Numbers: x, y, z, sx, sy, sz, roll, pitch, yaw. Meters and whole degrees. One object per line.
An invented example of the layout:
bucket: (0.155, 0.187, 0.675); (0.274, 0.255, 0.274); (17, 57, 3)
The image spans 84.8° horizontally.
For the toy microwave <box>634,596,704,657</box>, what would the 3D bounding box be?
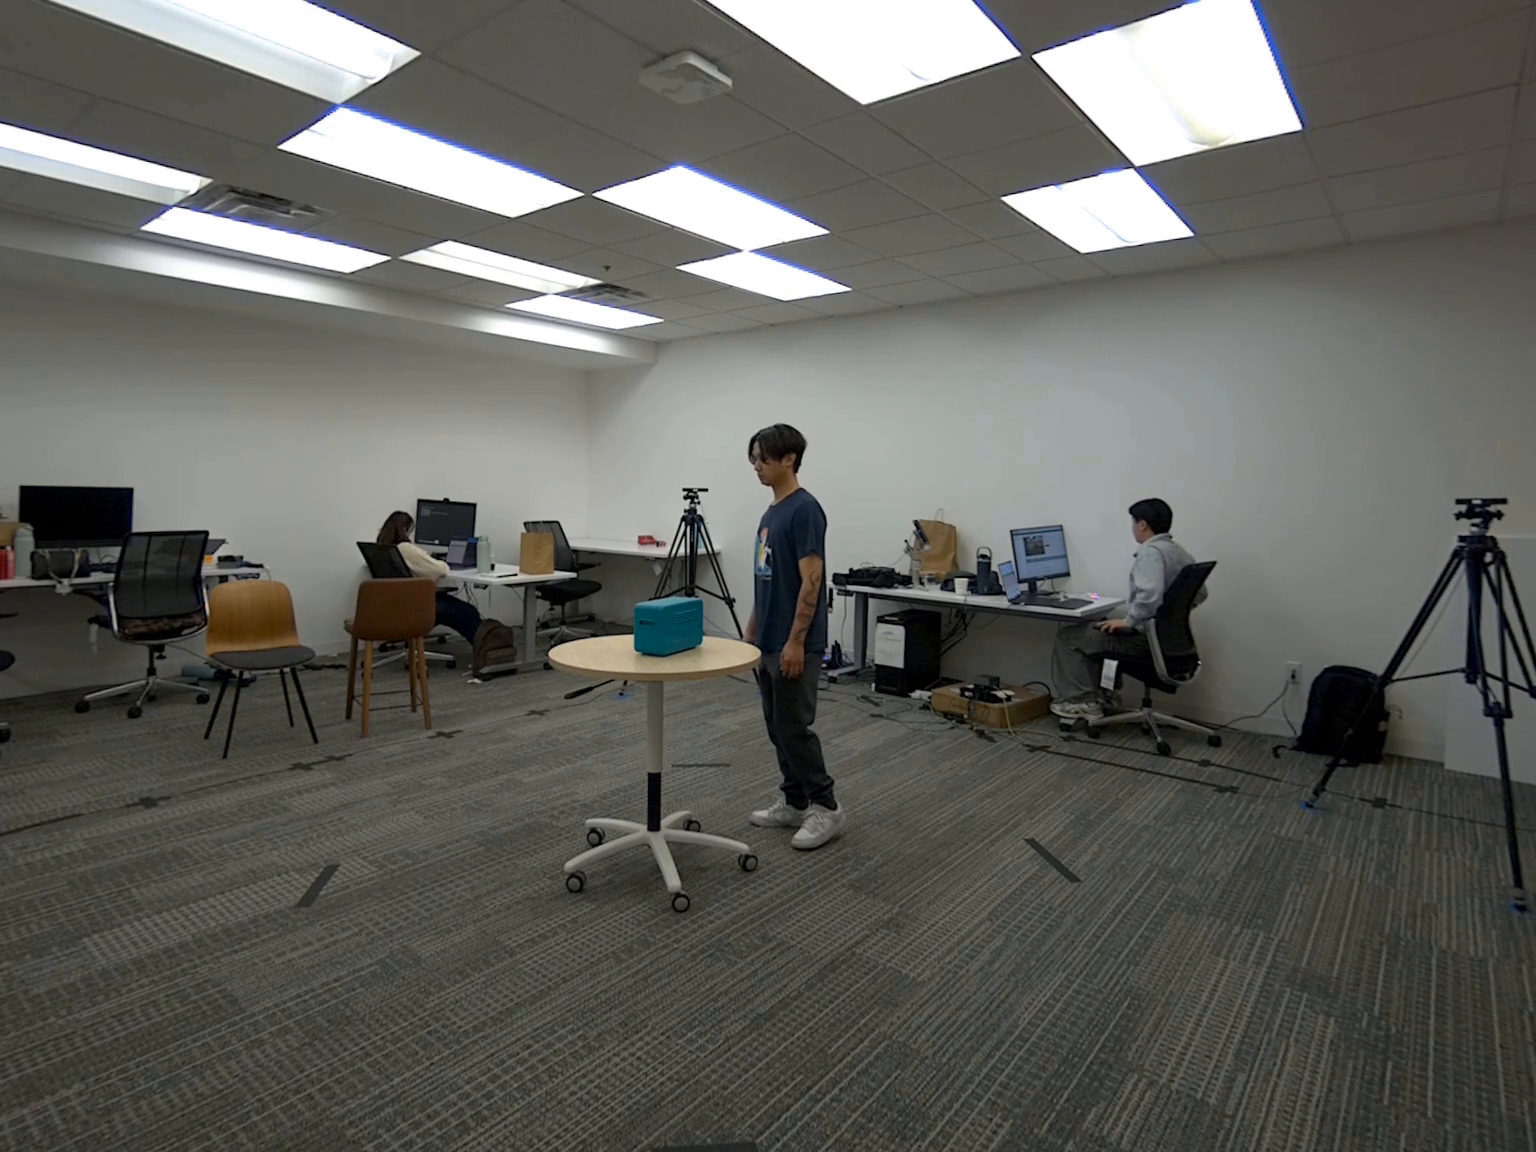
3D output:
toy microwave: (-0.374, 0.177, 3.100); (0.156, 0.183, 0.279); (2, 5, 28)
